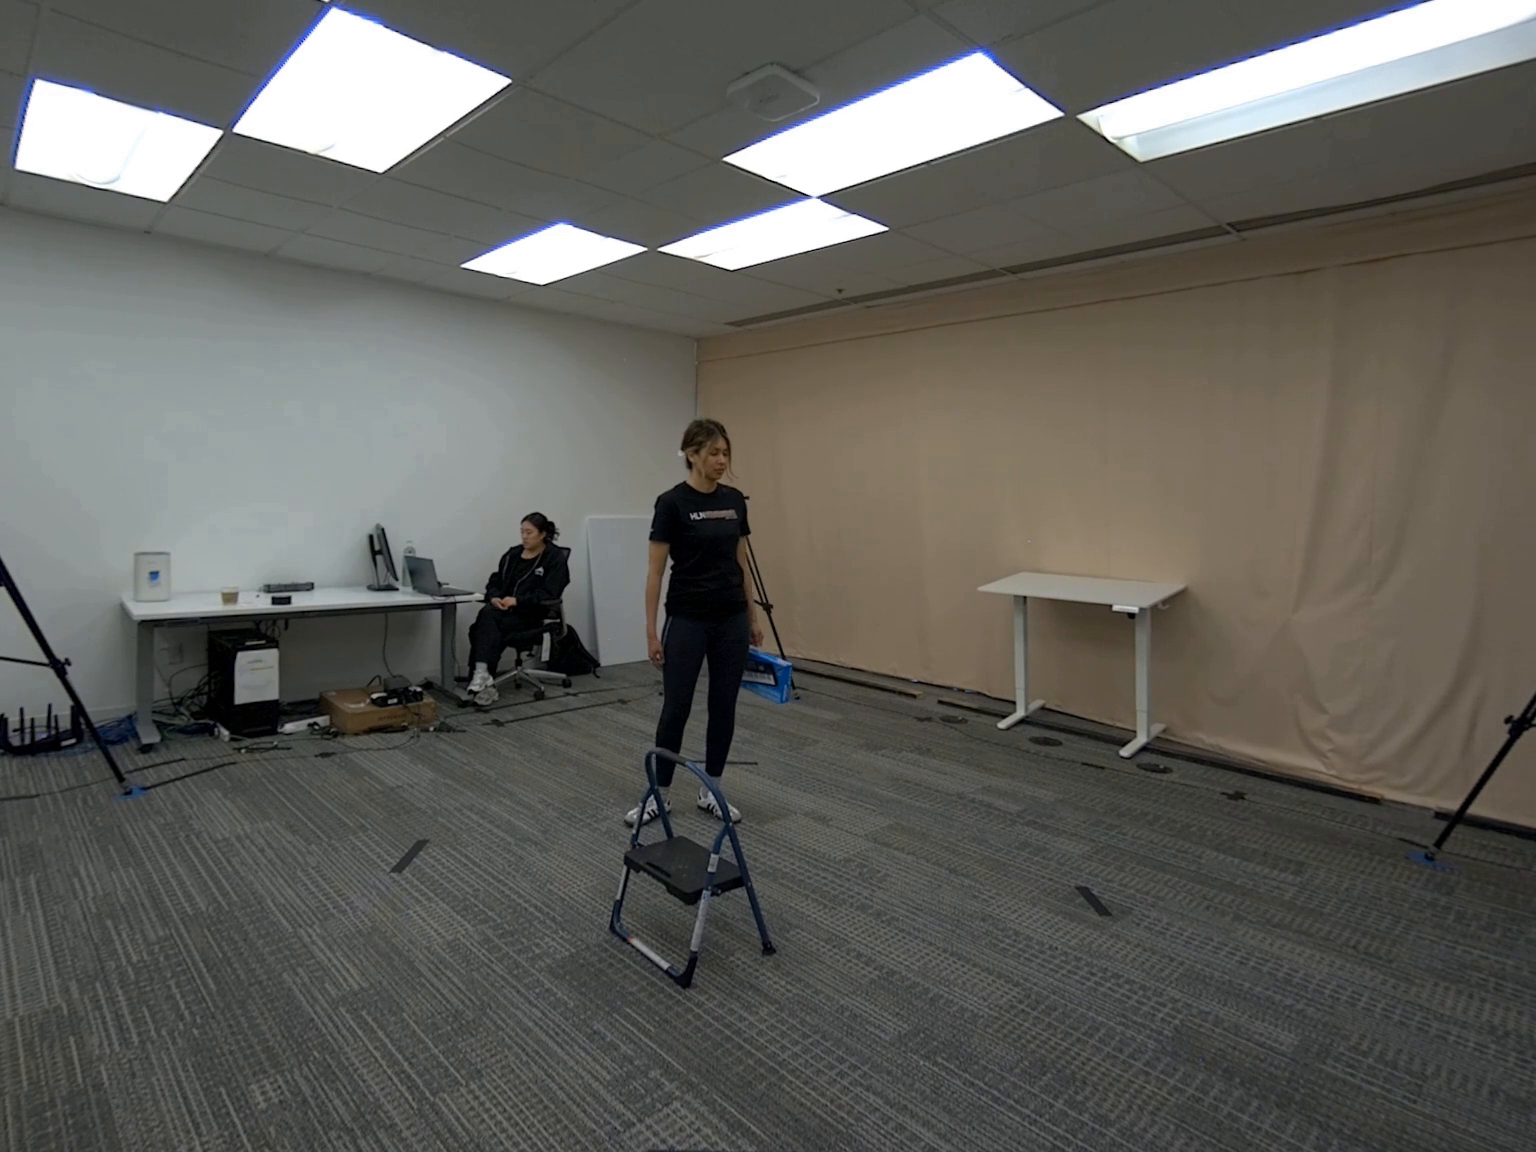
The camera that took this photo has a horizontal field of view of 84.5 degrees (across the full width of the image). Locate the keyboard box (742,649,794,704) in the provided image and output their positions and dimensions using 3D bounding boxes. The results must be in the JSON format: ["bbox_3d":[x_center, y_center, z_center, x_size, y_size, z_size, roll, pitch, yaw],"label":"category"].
[{"bbox_3d":[-0.083,0.418,3.766,0.449,0.175,0.058,16,15,43],"label":"keyboard box"}]
